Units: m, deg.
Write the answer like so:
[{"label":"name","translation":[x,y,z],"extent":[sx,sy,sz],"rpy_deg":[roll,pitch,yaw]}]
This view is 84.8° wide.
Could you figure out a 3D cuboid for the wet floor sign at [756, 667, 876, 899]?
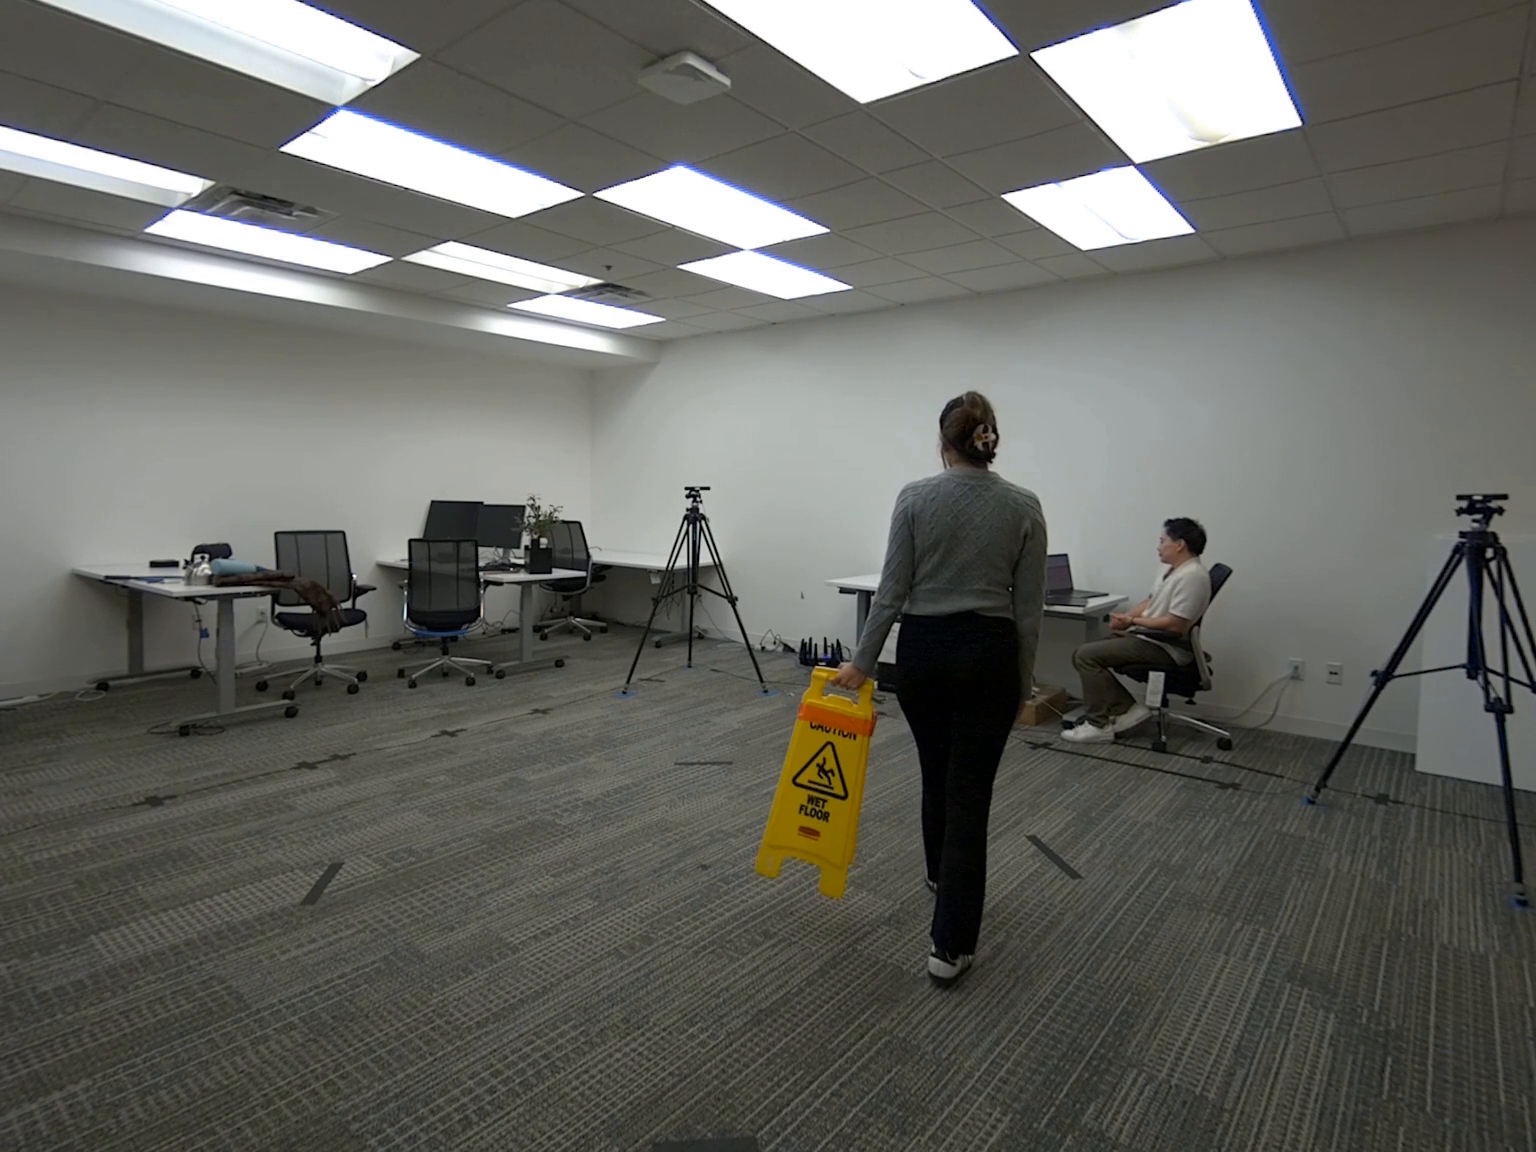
[{"label":"wet floor sign","translation":[0.176,0.616,2.728],"extent":[0.287,0.644,0.285],"rpy_deg":[12,3,13]}]
